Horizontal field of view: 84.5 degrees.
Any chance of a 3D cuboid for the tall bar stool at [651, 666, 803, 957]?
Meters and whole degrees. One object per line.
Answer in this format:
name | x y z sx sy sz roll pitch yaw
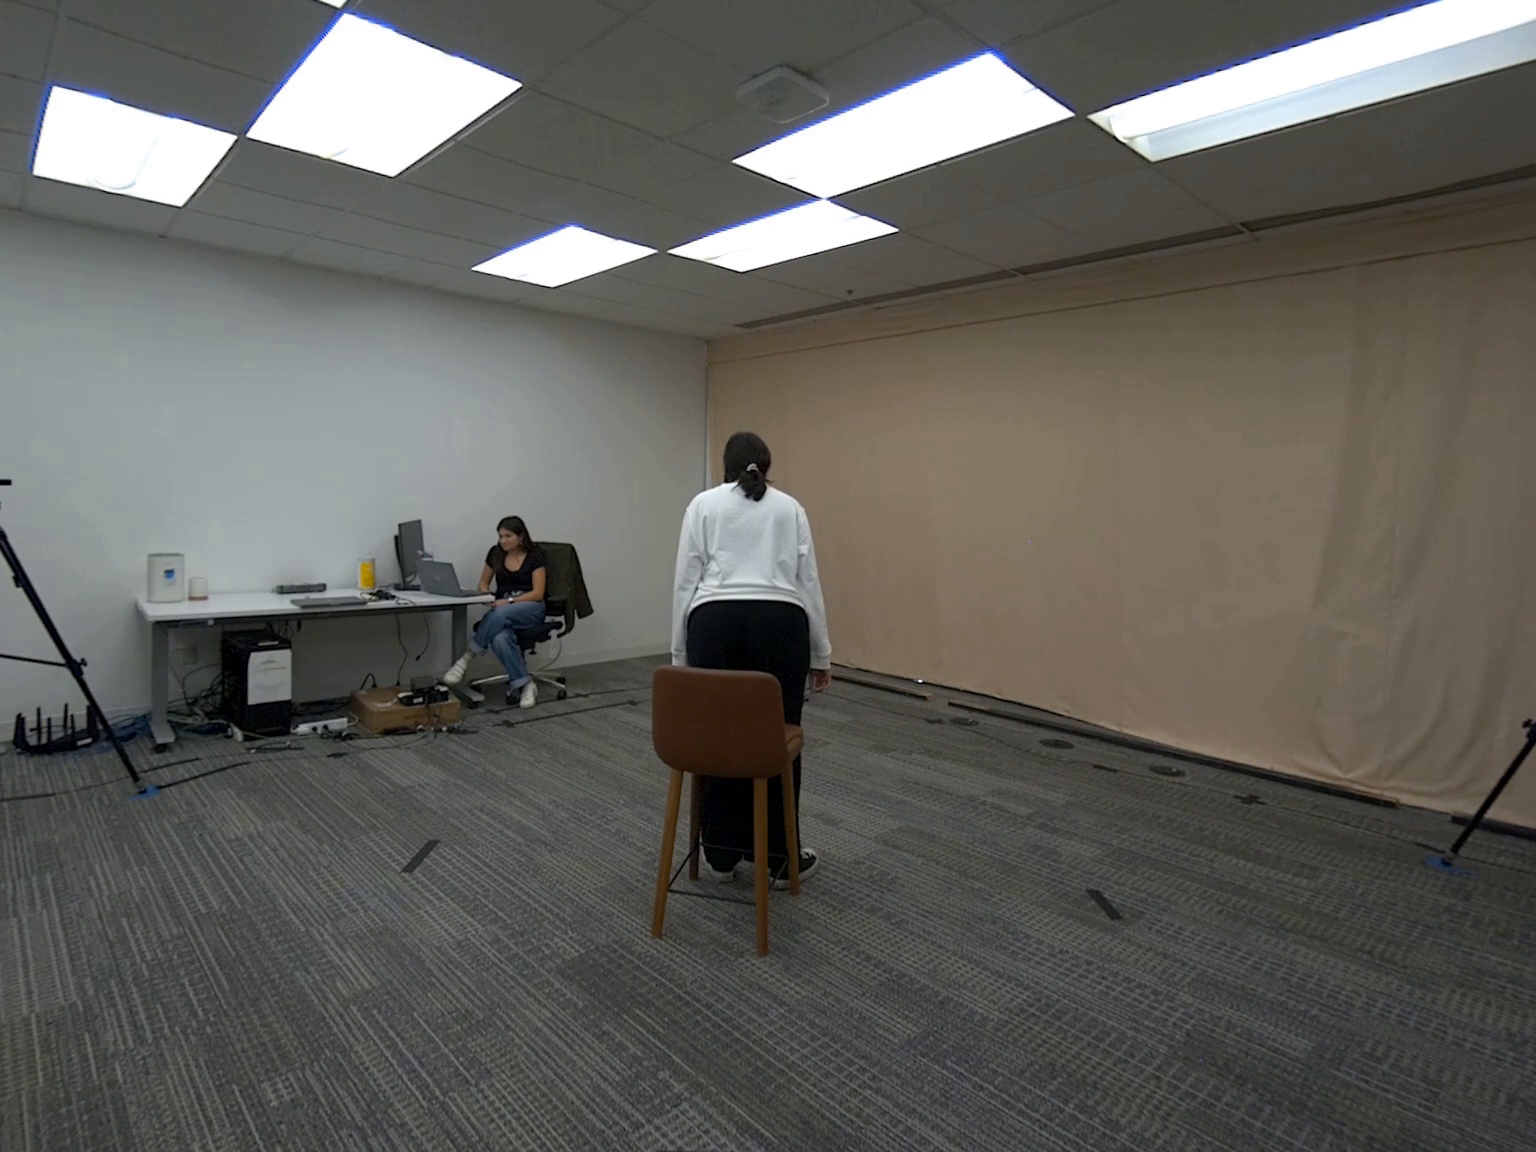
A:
tall bar stool | -0.139 0.702 2.788 0.462 0.886 0.463 2 5 15
